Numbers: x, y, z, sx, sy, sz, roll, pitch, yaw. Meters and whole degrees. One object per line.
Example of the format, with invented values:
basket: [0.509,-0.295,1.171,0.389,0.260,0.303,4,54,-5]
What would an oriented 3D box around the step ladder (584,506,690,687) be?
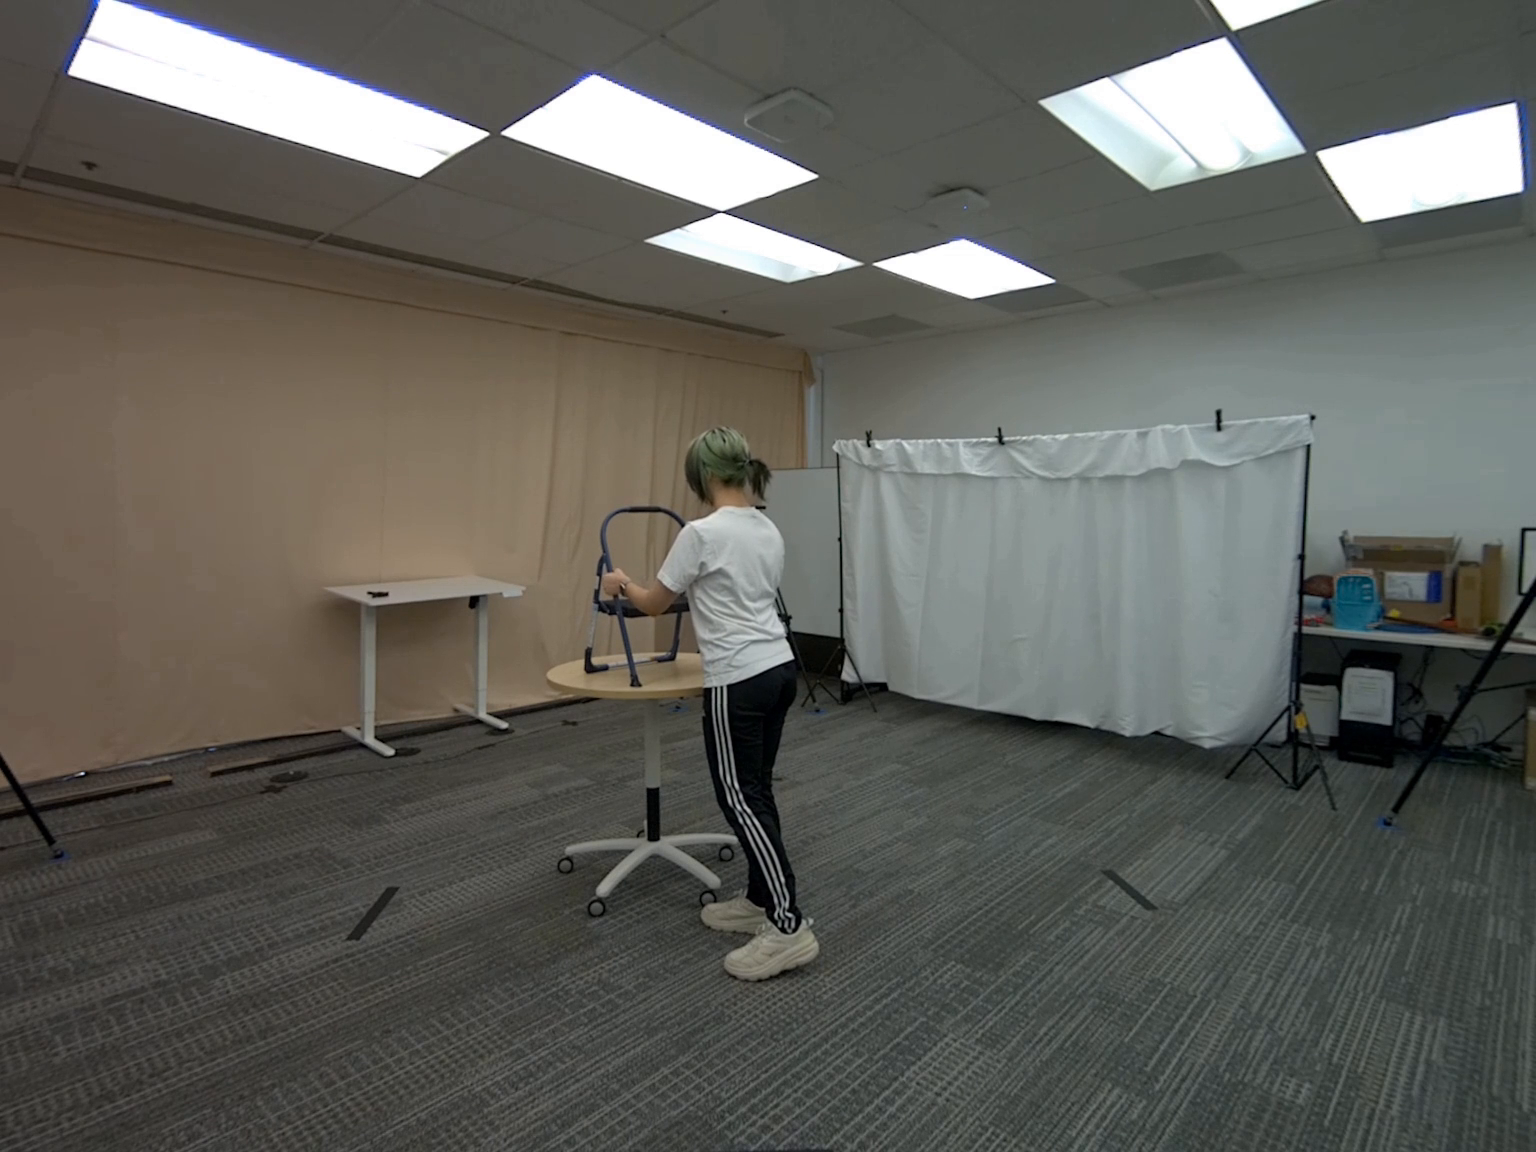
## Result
step ladder: [-0.415,0.052,3.080,0.417,0.605,0.361,-3,3,-42]
